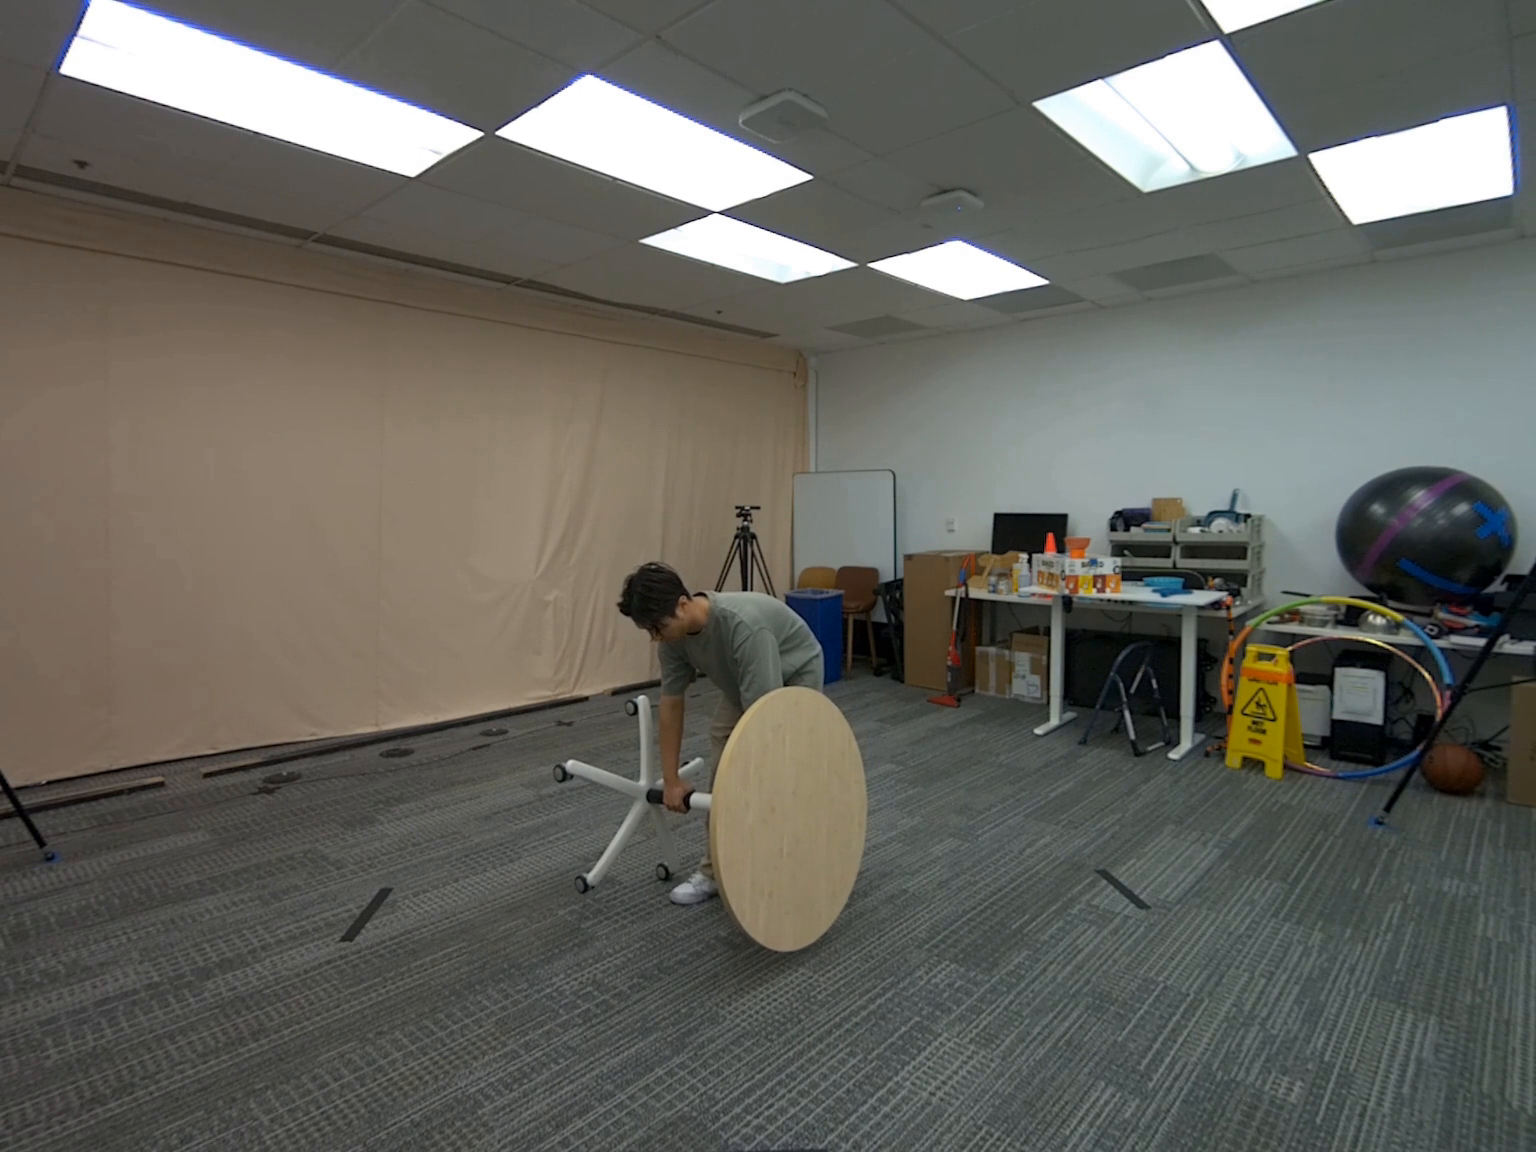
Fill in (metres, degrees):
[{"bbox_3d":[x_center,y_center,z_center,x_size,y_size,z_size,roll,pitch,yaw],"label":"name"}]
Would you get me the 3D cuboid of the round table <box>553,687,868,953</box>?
[{"bbox_3d":[-0.220,0.764,2.818,0.809,0.786,0.761,-7,-2,39],"label":"round table"}]
